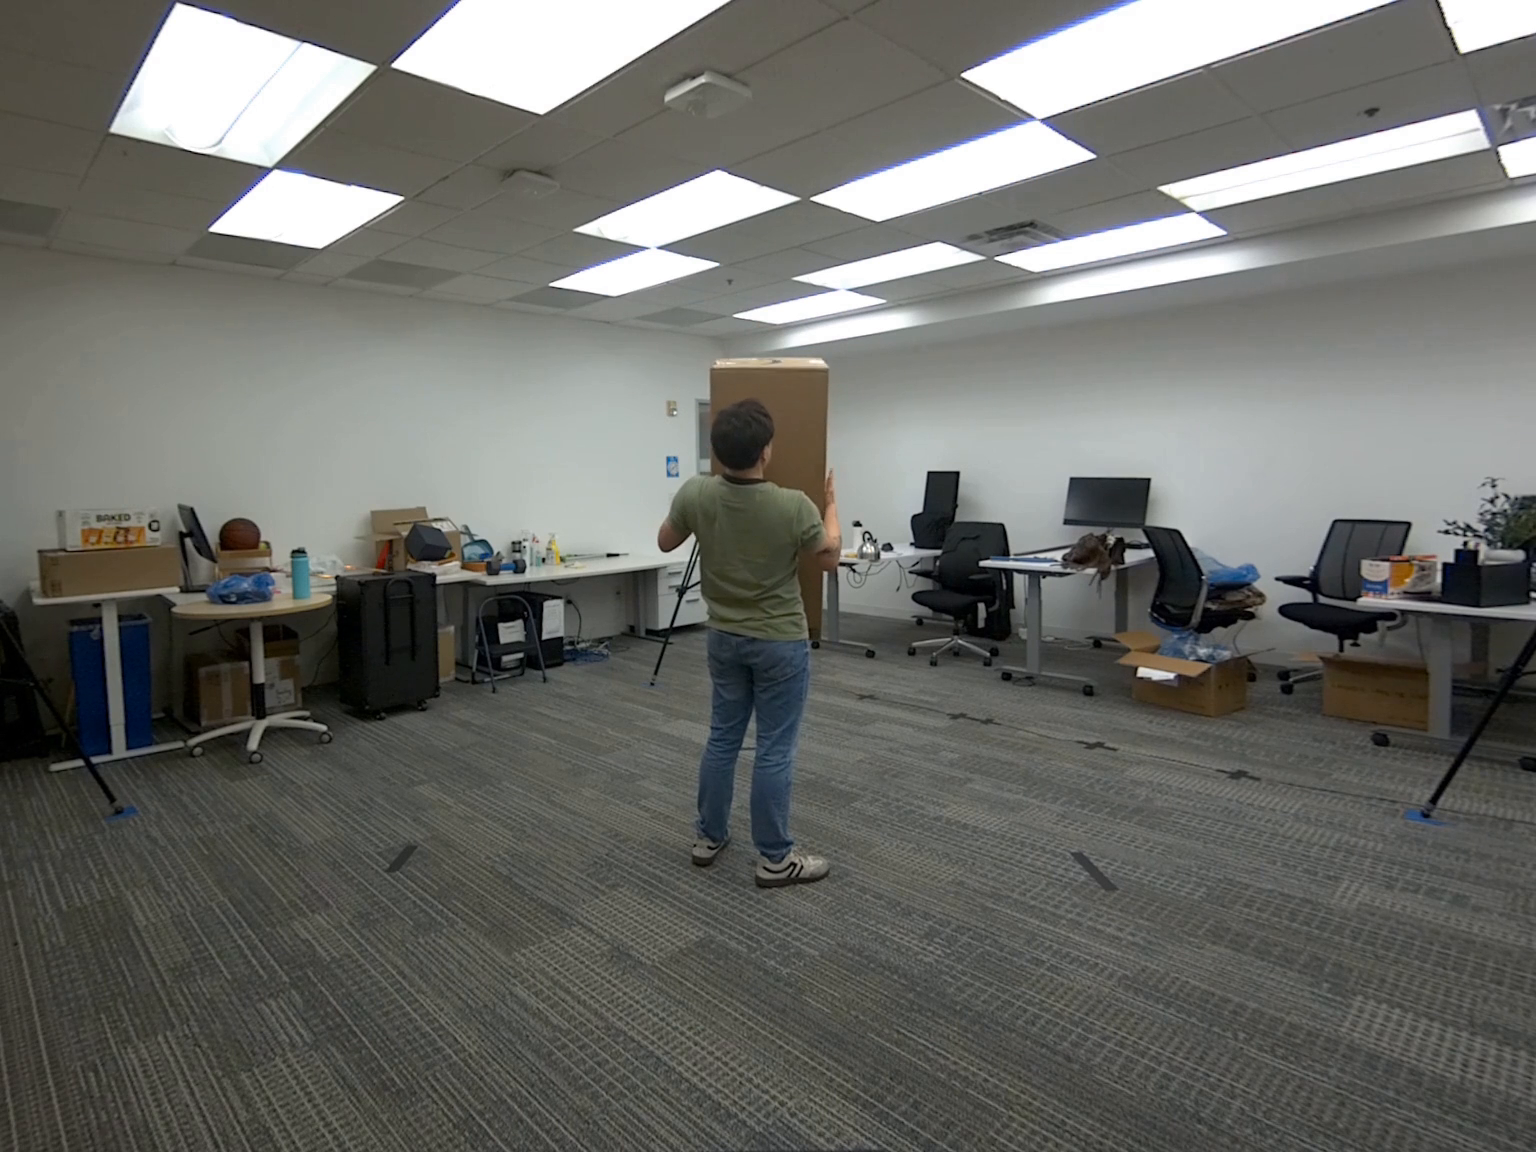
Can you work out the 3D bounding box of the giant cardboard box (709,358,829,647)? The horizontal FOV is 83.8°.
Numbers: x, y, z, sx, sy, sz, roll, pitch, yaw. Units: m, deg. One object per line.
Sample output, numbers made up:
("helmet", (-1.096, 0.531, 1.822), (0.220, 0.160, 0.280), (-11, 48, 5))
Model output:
("giant cardboard box", (0.006, -0.330, 3.400), (0.427, 1.012, 0.584), (1, 16, 1))
